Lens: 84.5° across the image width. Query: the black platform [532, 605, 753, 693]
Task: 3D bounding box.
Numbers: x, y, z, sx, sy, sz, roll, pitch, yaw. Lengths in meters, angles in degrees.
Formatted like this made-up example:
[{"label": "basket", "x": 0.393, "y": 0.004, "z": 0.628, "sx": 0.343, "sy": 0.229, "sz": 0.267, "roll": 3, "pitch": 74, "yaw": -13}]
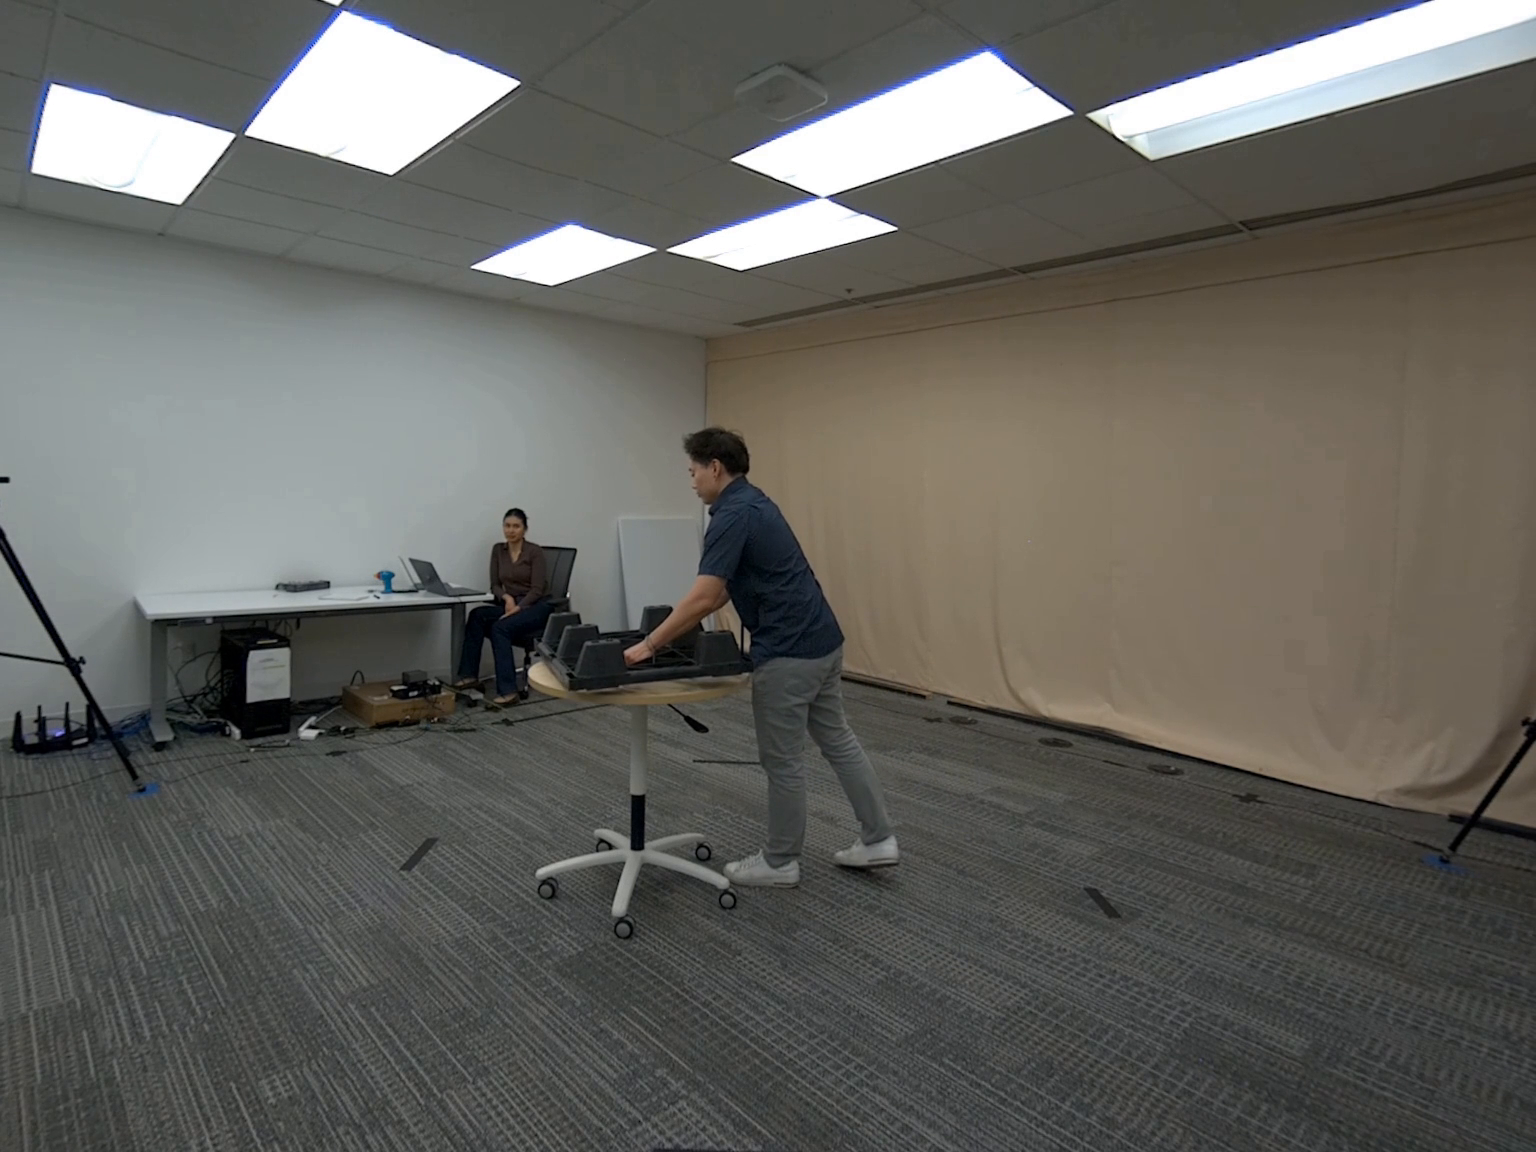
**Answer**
[{"label": "black platform", "x": -0.483, "y": 0.227, "z": 2.962, "sx": 0.595, "sy": 0.143, "sz": 0.821, "roll": -3, "pitch": 6, "yaw": -22}]
